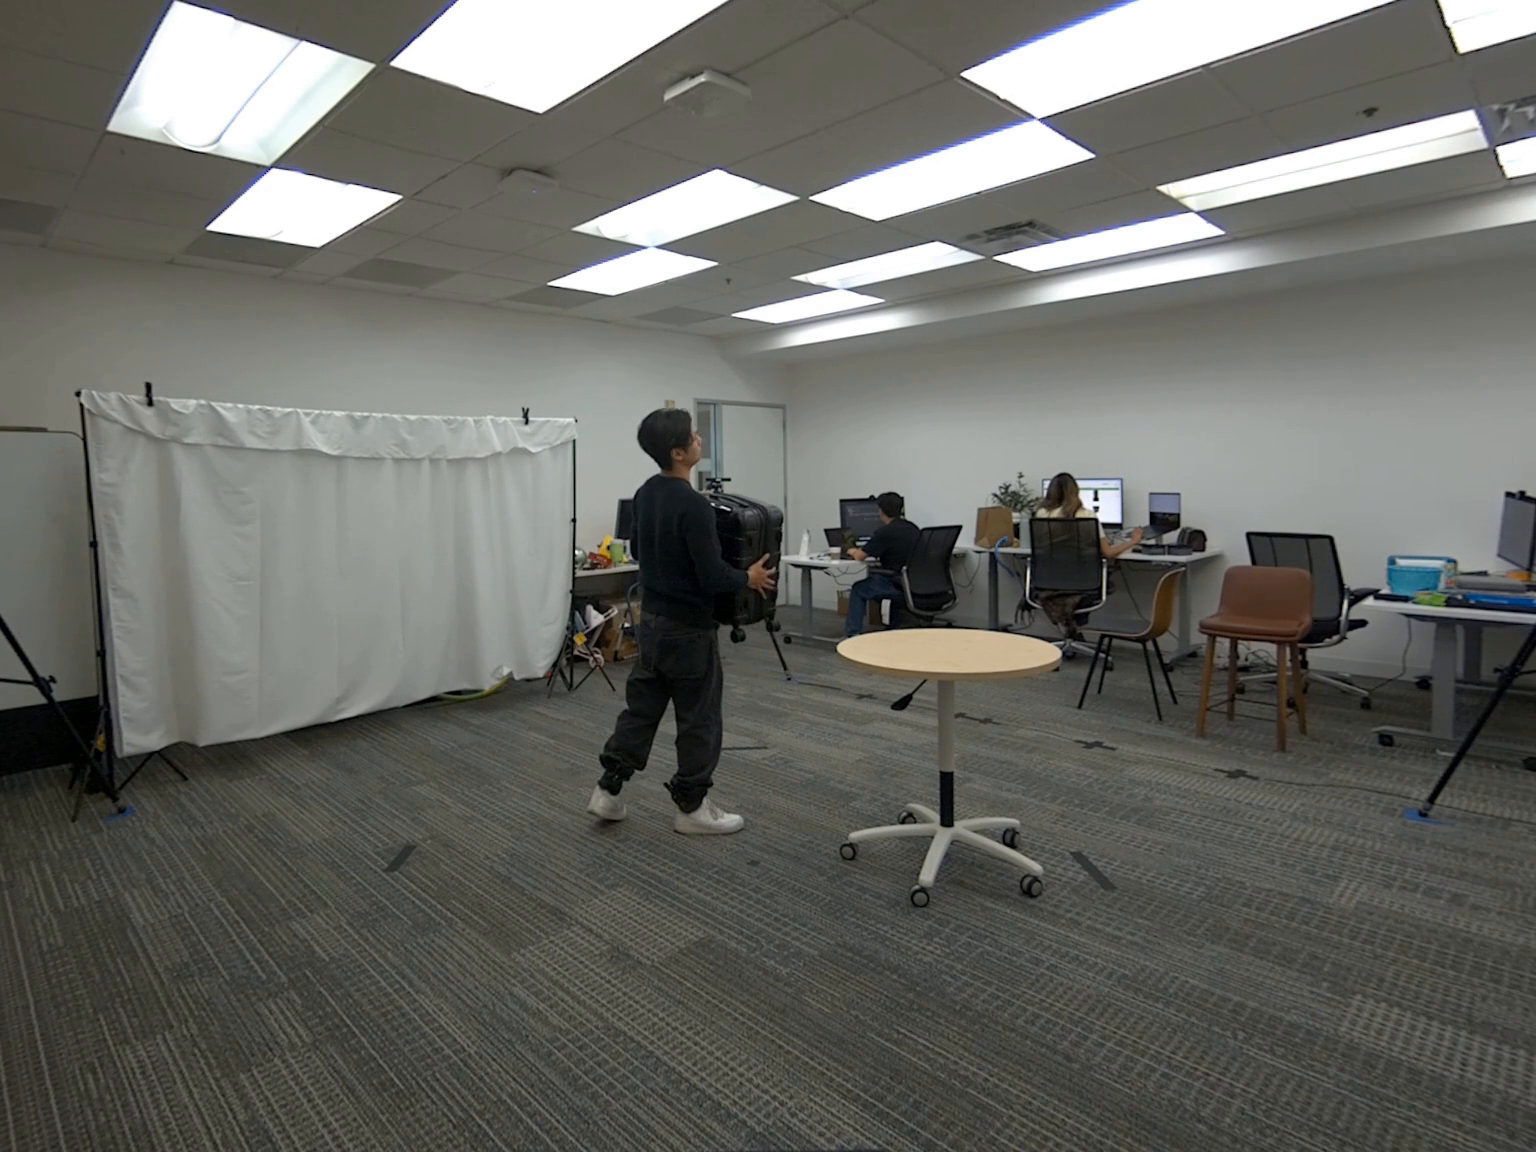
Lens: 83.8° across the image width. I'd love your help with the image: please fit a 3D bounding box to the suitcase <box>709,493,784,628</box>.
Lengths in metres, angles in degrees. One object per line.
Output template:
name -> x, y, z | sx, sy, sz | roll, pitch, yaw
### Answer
suitcase -> -0.149, -0.059, 3.548 | 0.242, 0.543, 0.389 | -8, 18, -43
